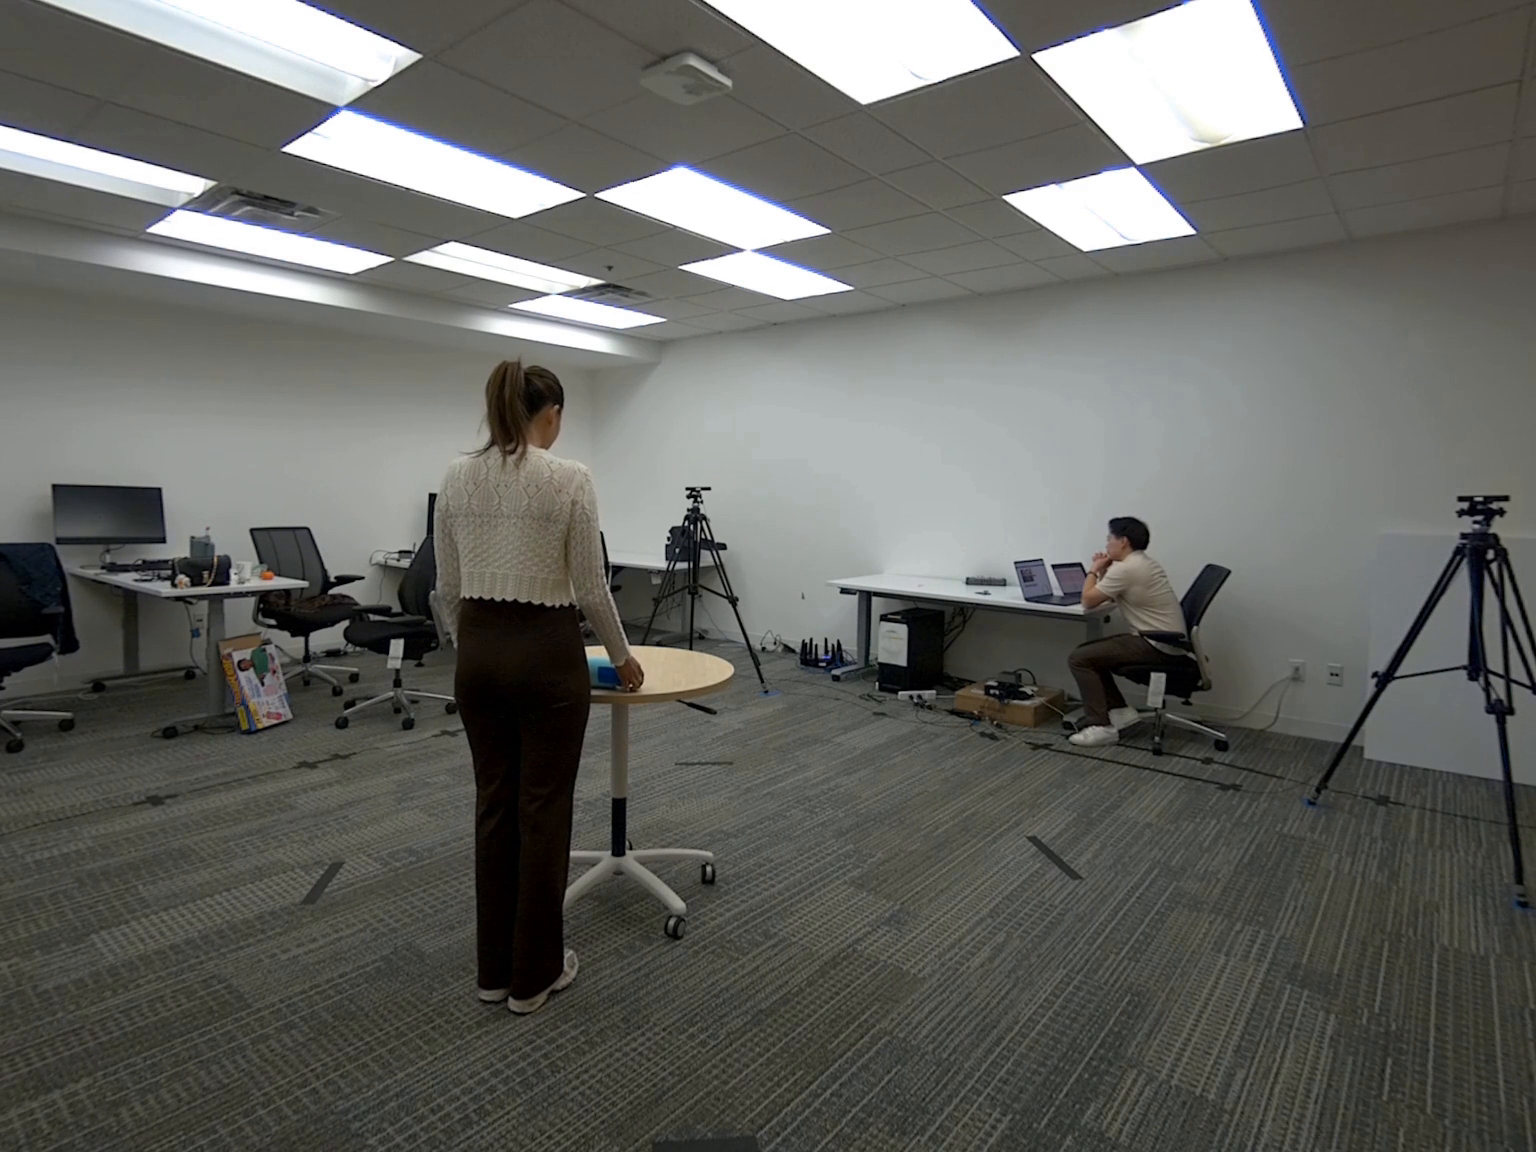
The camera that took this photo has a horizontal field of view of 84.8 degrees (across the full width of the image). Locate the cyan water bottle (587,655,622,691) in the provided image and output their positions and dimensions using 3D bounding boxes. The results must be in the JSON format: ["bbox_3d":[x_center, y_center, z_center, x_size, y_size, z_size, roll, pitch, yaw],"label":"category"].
[{"bbox_3d":[-0.553,0.290,2.567,0.285,0.092,0.092,2,4,6],"label":"cyan water bottle"}]
